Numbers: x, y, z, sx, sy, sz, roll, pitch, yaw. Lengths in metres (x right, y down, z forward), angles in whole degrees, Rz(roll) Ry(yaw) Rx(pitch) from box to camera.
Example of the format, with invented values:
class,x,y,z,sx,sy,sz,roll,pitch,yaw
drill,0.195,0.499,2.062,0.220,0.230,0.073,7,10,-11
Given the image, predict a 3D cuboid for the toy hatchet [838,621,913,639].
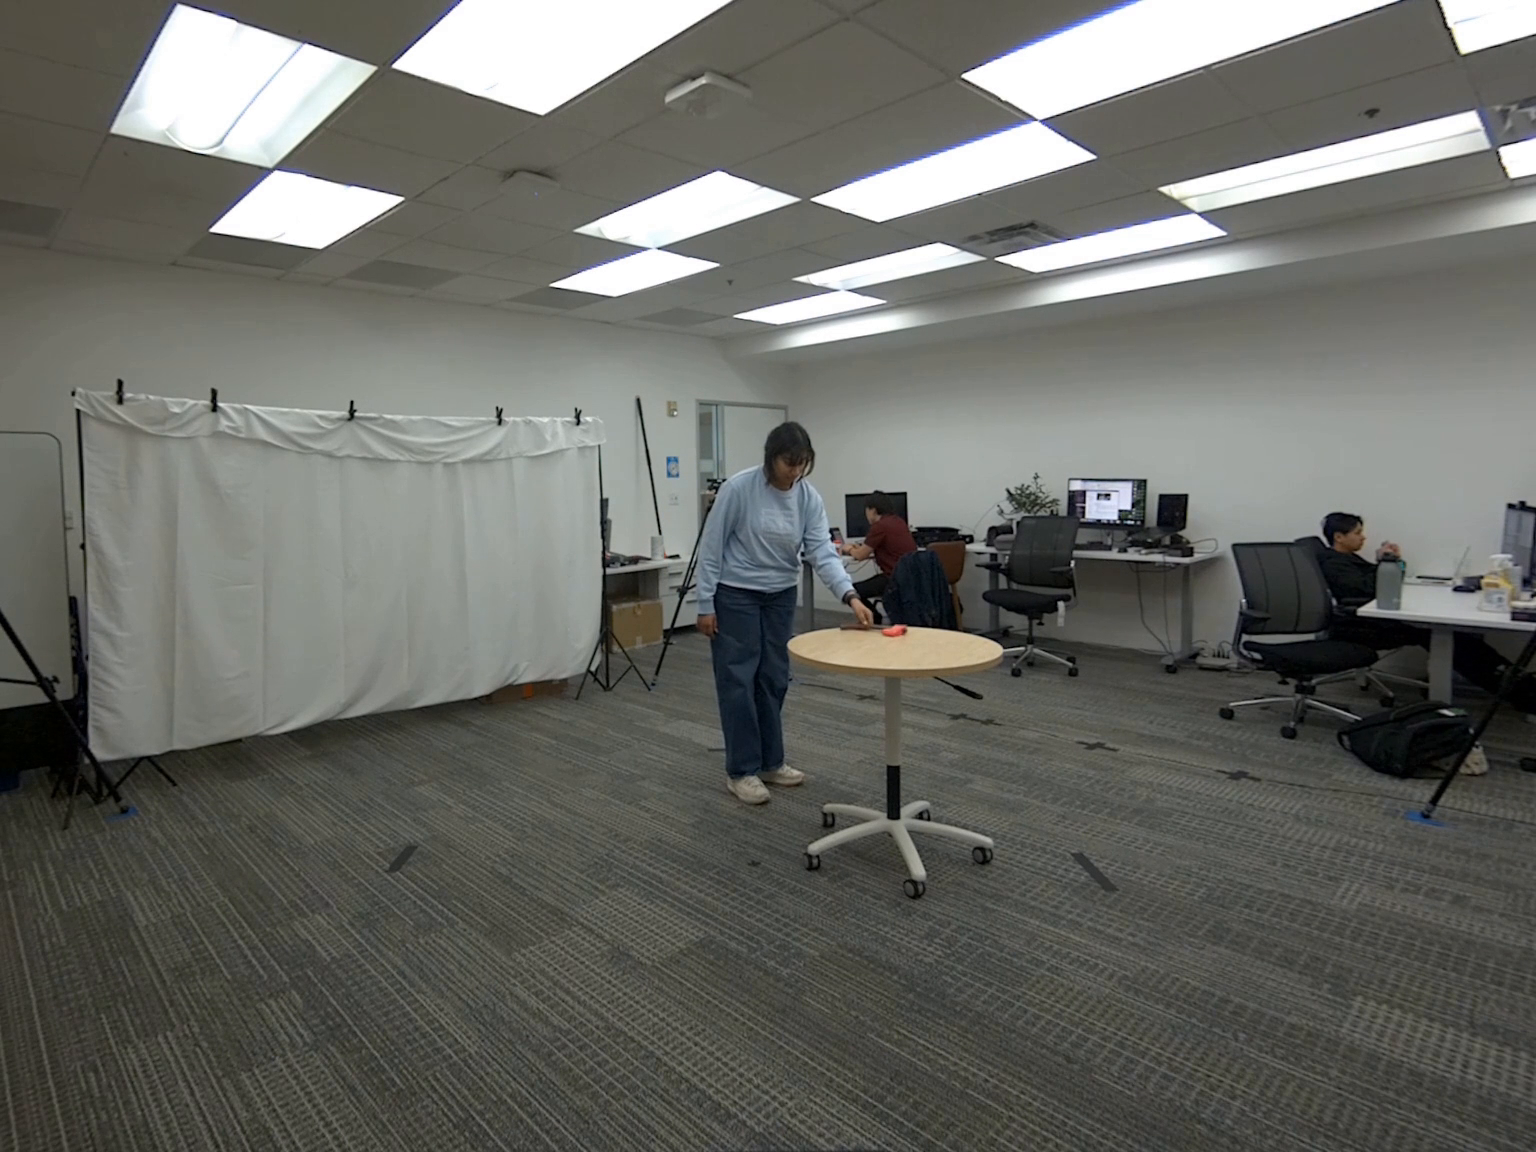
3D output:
class,x,y,z,sx,sy,sz,roll,pitch,yaw
toy hatchet,0.420,0.208,3.349,0.275,0.029,0.130,0,13,18
